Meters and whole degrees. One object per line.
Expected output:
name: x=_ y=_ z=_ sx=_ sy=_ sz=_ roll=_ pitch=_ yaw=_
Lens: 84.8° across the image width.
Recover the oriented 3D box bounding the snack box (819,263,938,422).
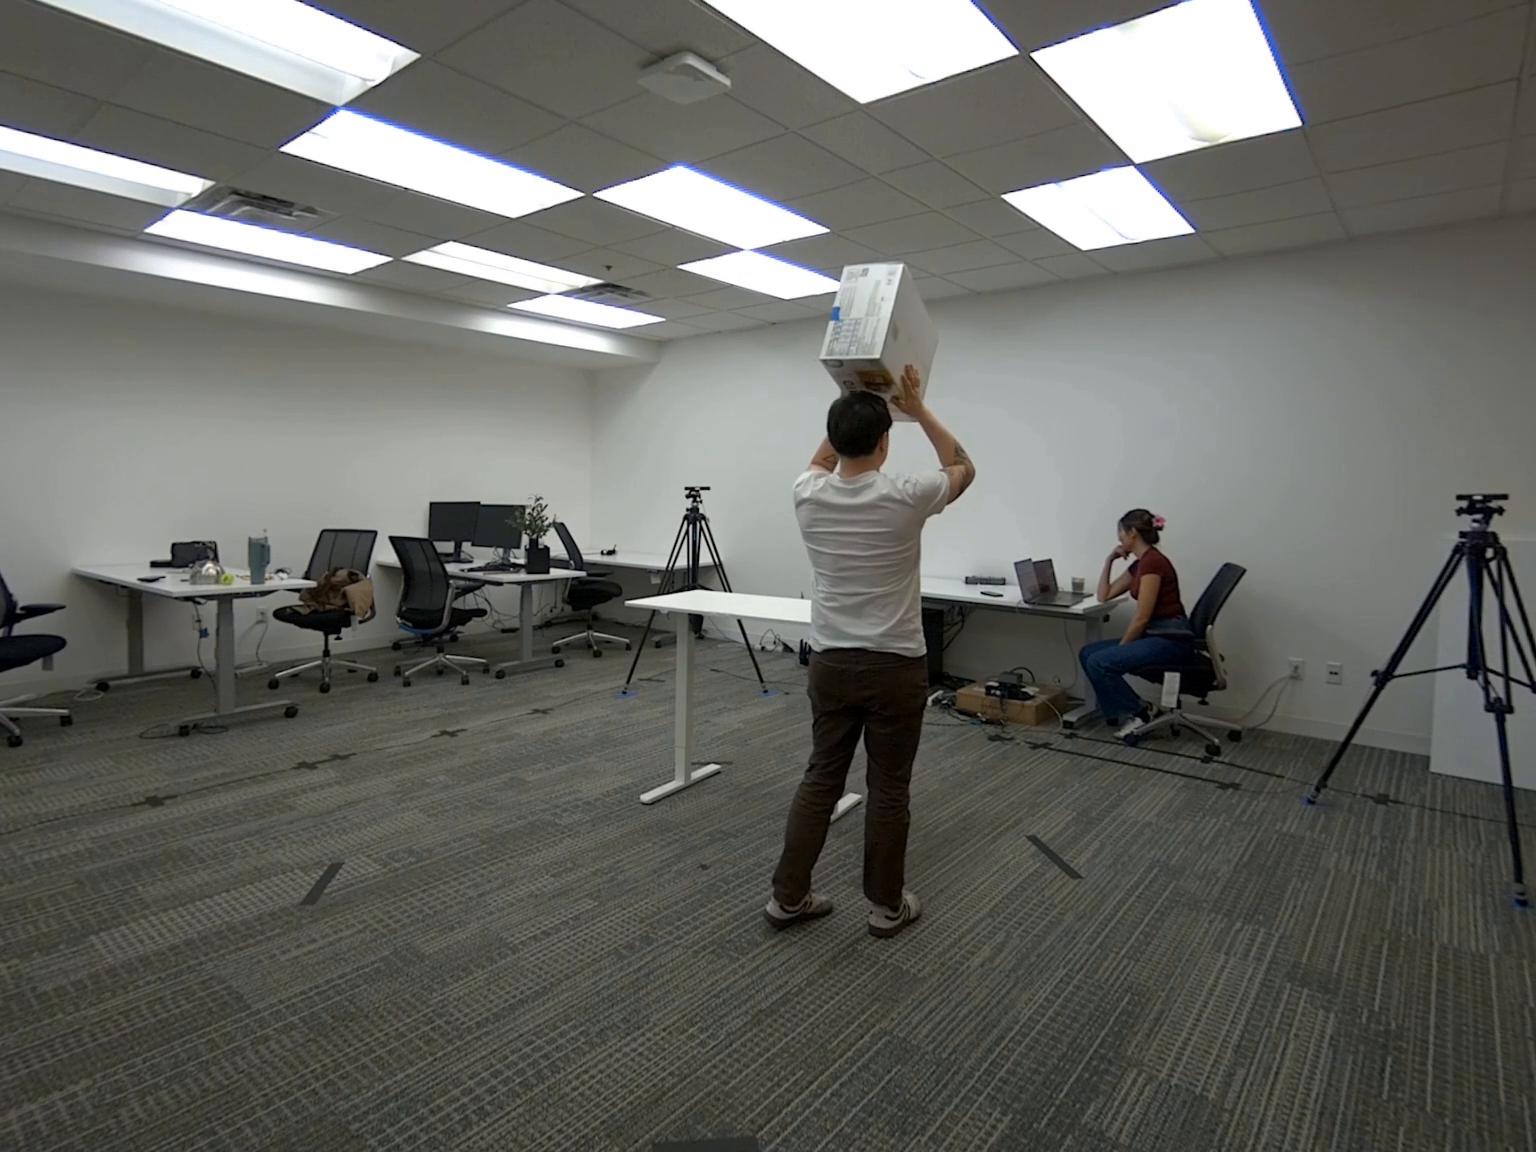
snack box: x=0.361 y=-0.747 z=2.754 sx=0.212 sy=0.343 sz=0.389 roll=7 pitch=-16 yaw=30
